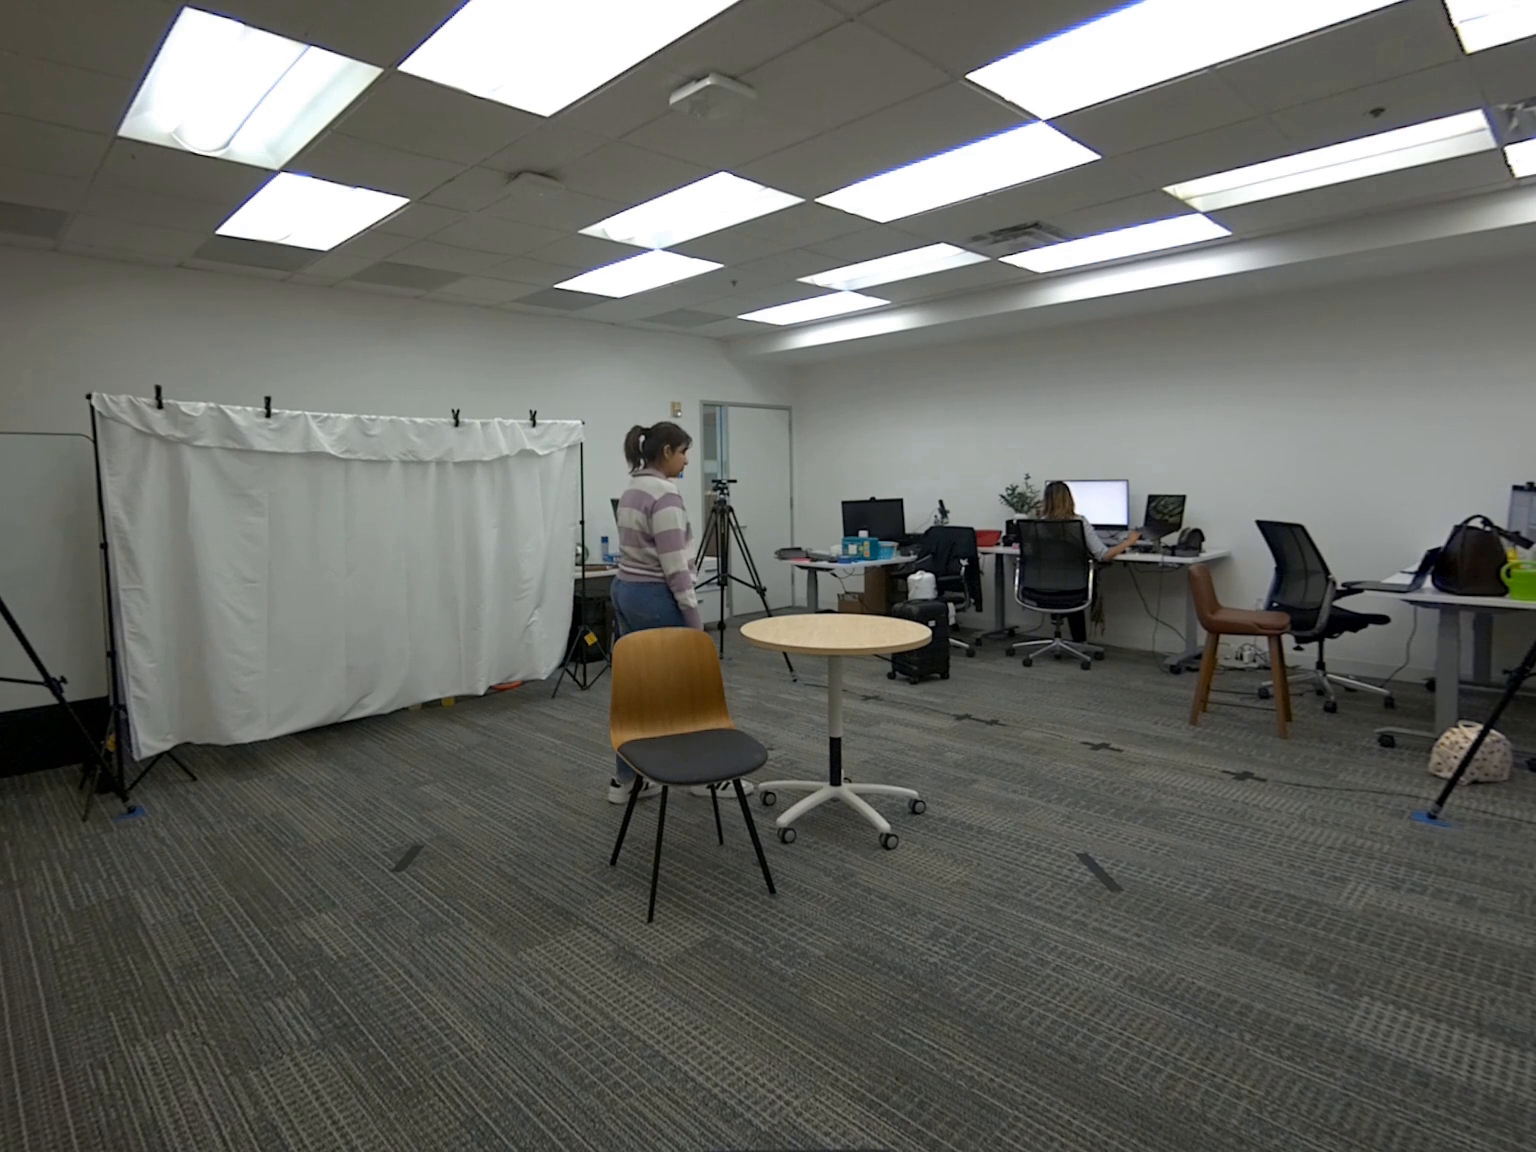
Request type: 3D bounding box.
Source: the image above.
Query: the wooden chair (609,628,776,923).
[{"bbox_3d":[-0.275,0.640,2.958,0.468,0.877,0.534,-3,0,-25],"label":"wooden chair"}]
